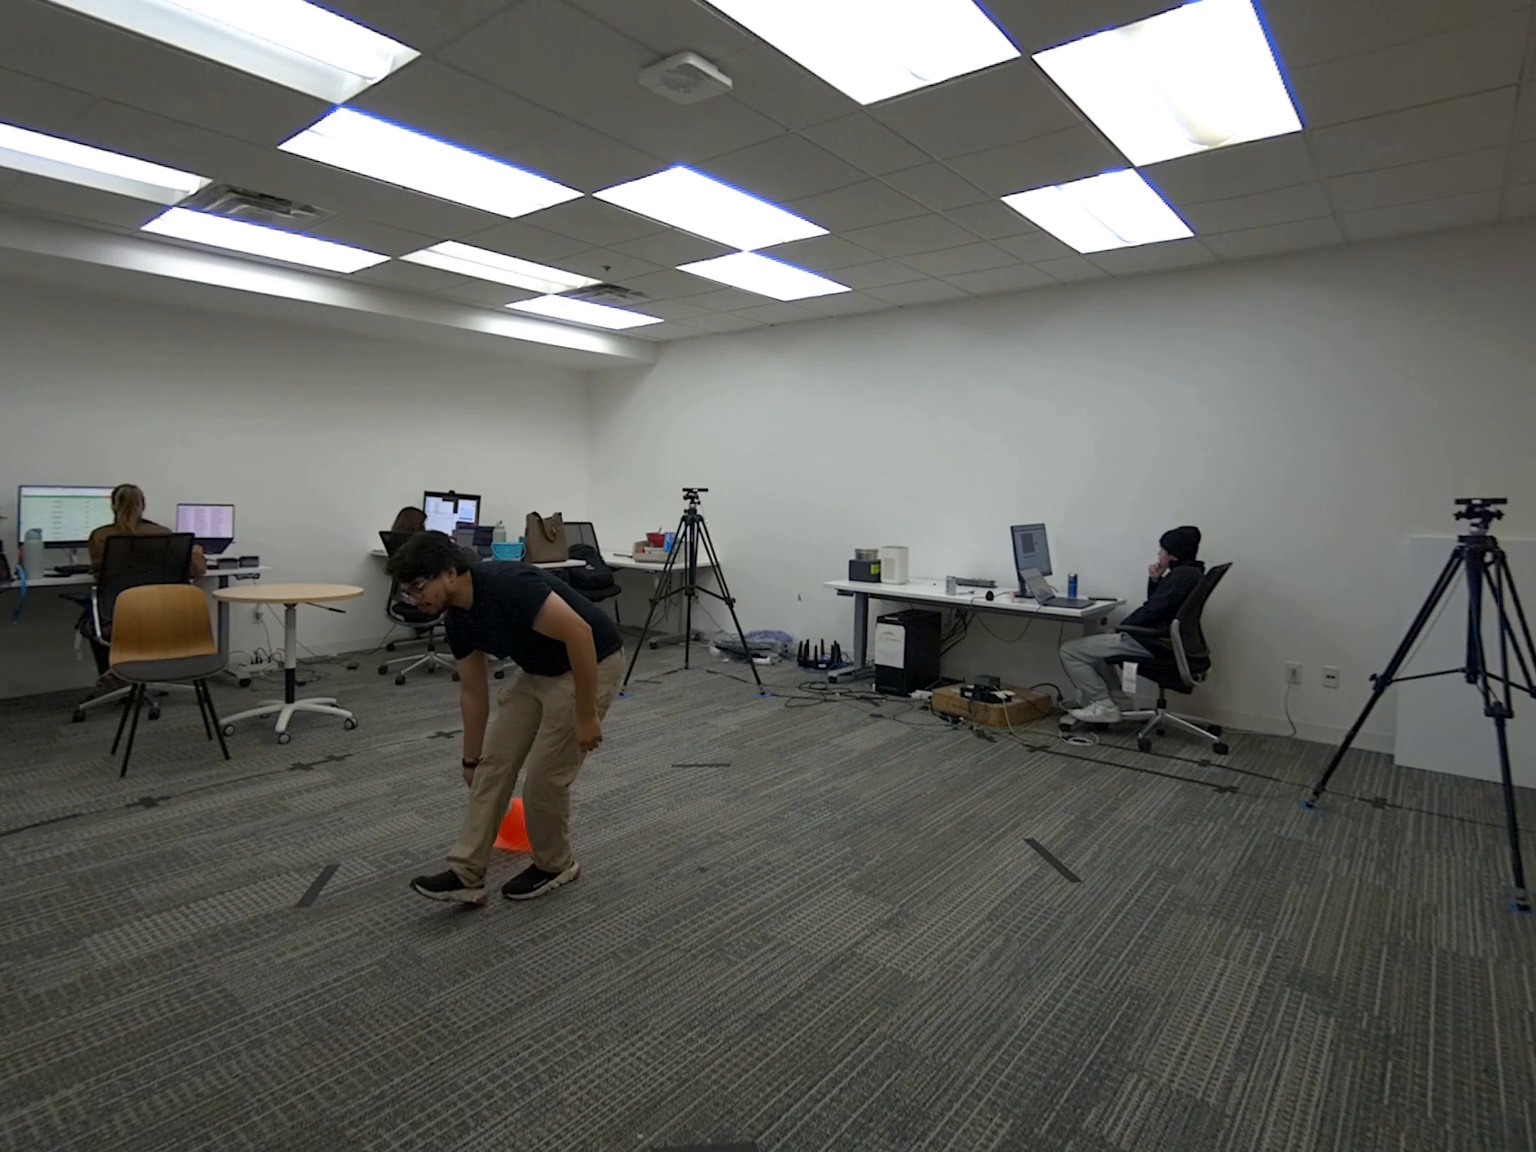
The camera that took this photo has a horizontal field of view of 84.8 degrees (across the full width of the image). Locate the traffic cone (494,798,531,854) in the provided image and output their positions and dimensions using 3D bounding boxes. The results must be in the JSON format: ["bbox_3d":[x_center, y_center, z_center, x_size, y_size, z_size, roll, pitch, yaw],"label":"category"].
[{"bbox_3d":[-1.022,0.845,3.168,0.208,0.208,0.370,5,-40,19],"label":"traffic cone"}]
